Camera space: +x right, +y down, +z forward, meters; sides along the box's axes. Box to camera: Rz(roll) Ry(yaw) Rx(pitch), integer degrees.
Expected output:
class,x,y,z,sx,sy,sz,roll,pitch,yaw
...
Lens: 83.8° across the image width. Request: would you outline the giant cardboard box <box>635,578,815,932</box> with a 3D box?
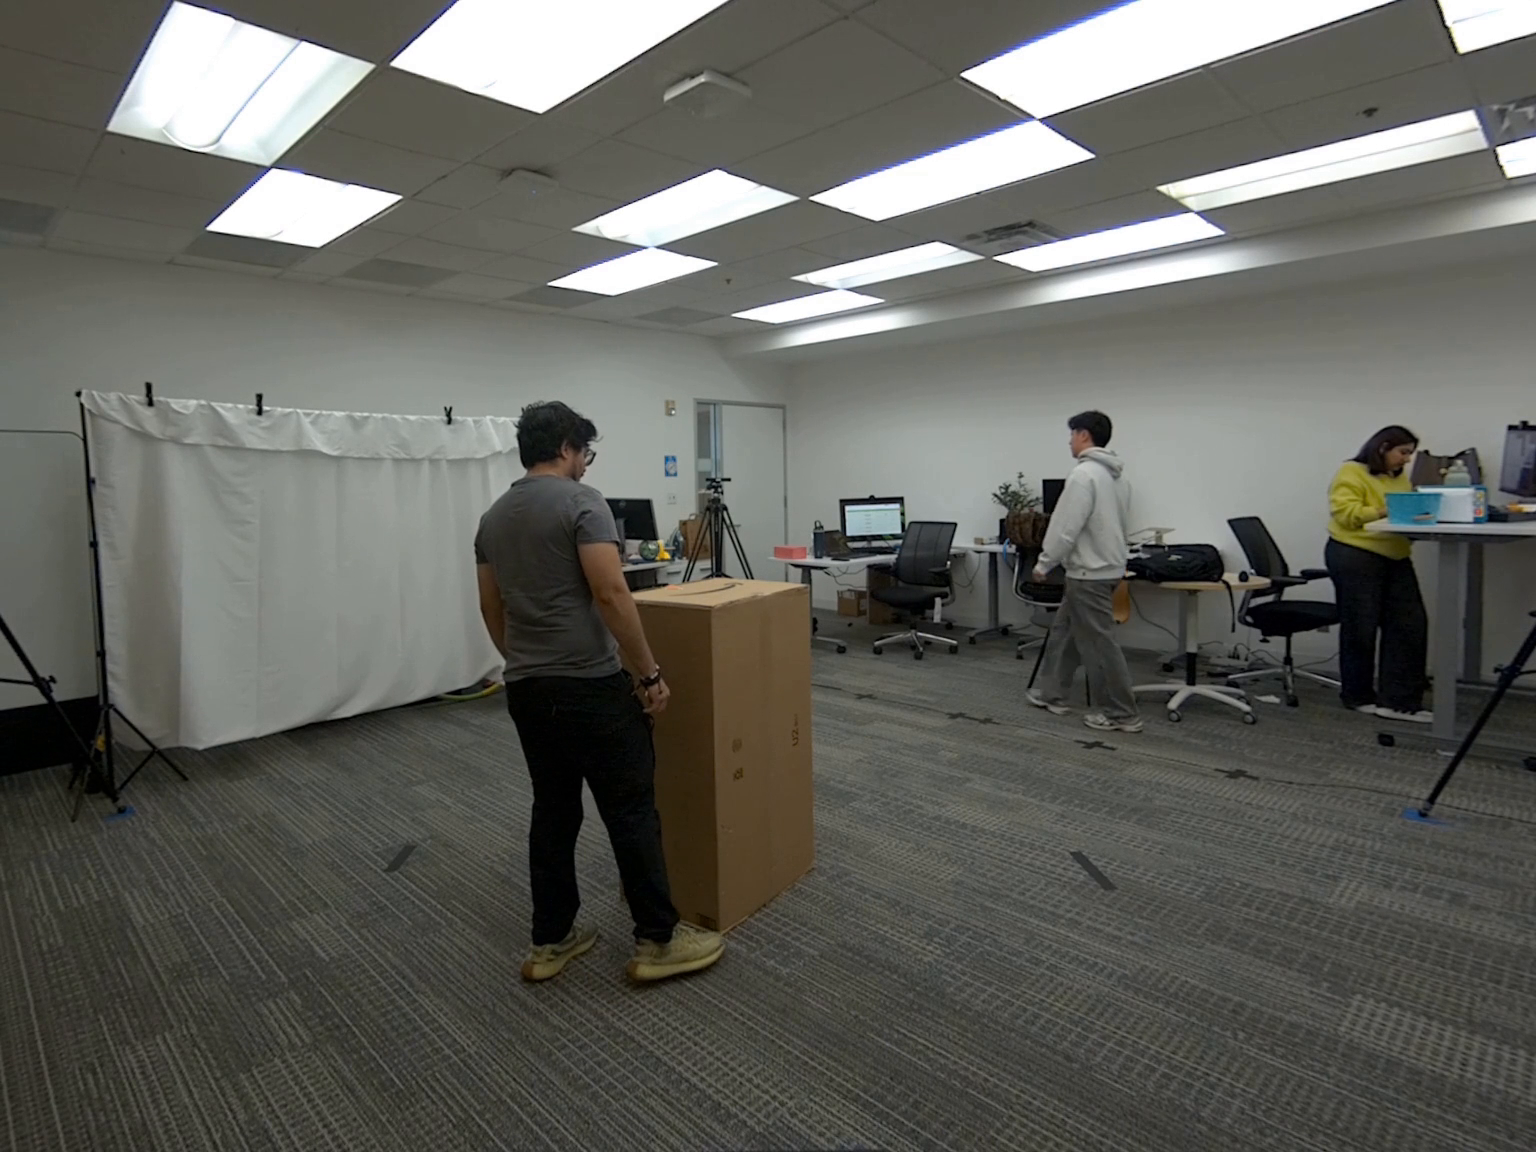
class,x,y,z,sx,sy,sz,roll,pitch,yaw
giant cardboard box,-0.172,0.561,2.925,0.459,1.023,0.570,3,6,34
